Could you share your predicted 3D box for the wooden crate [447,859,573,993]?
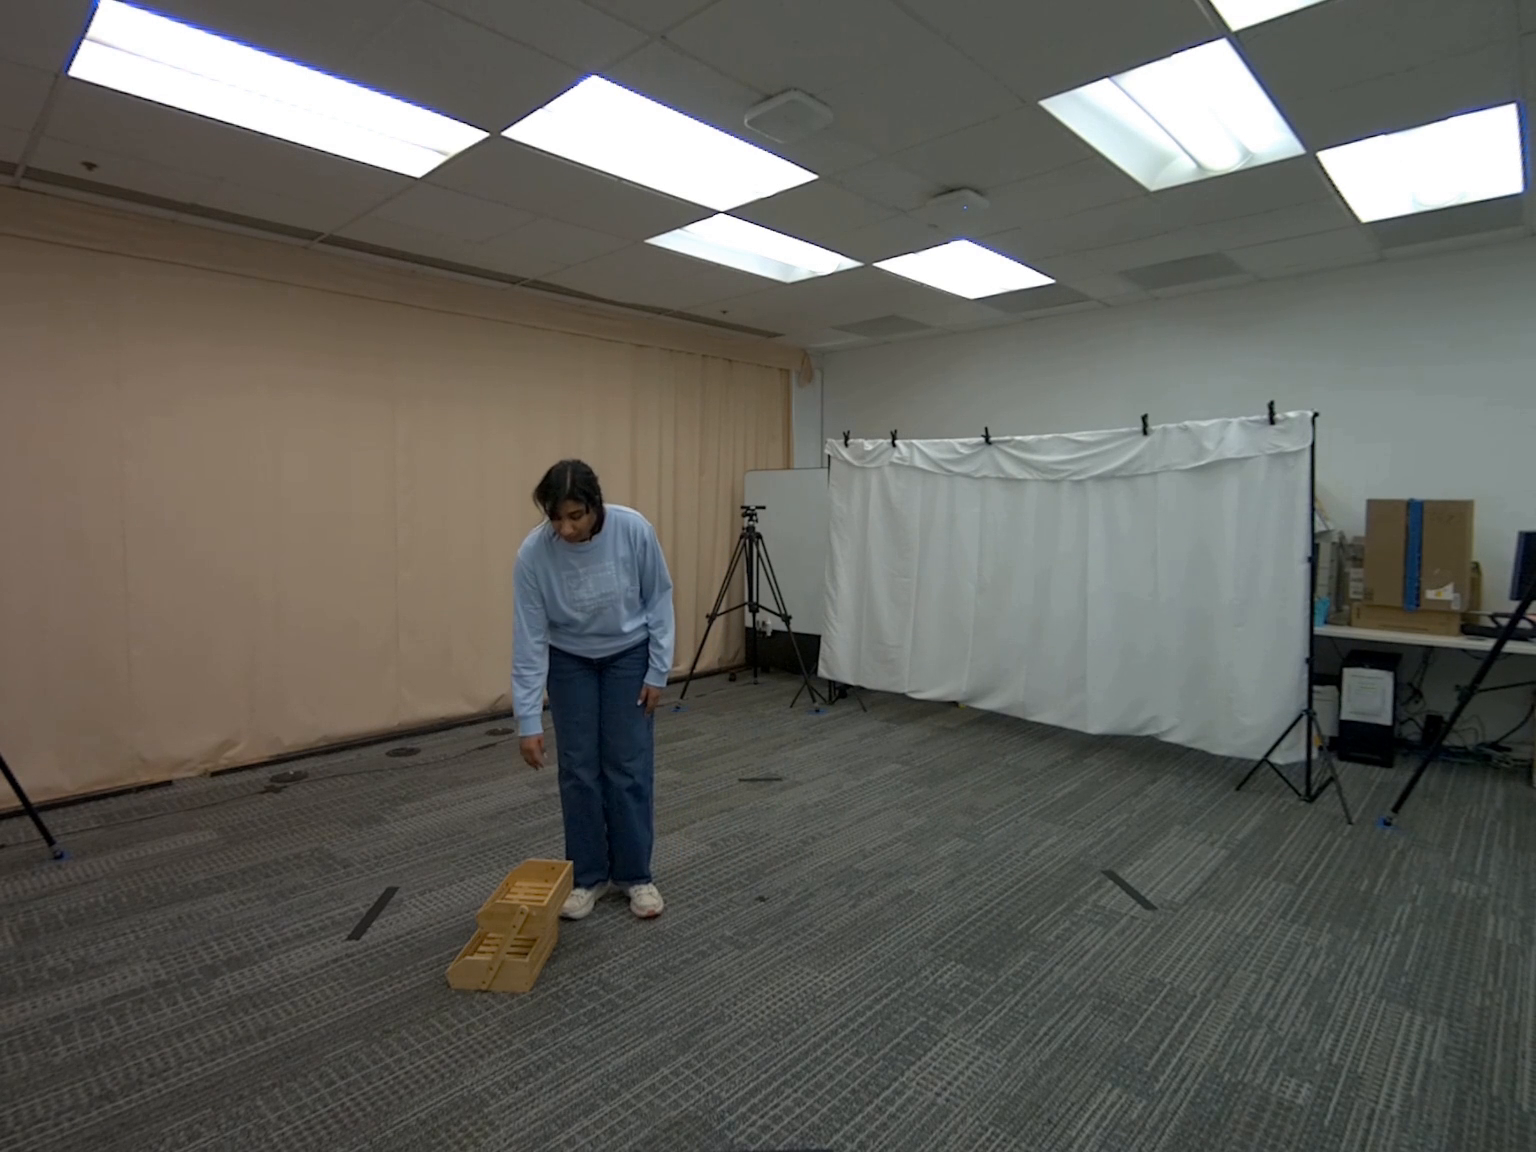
[{"bbox_3d":[-0.787,1.052,2.567,0.304,0.273,0.323,1,4,4],"label":"wooden crate"}]
